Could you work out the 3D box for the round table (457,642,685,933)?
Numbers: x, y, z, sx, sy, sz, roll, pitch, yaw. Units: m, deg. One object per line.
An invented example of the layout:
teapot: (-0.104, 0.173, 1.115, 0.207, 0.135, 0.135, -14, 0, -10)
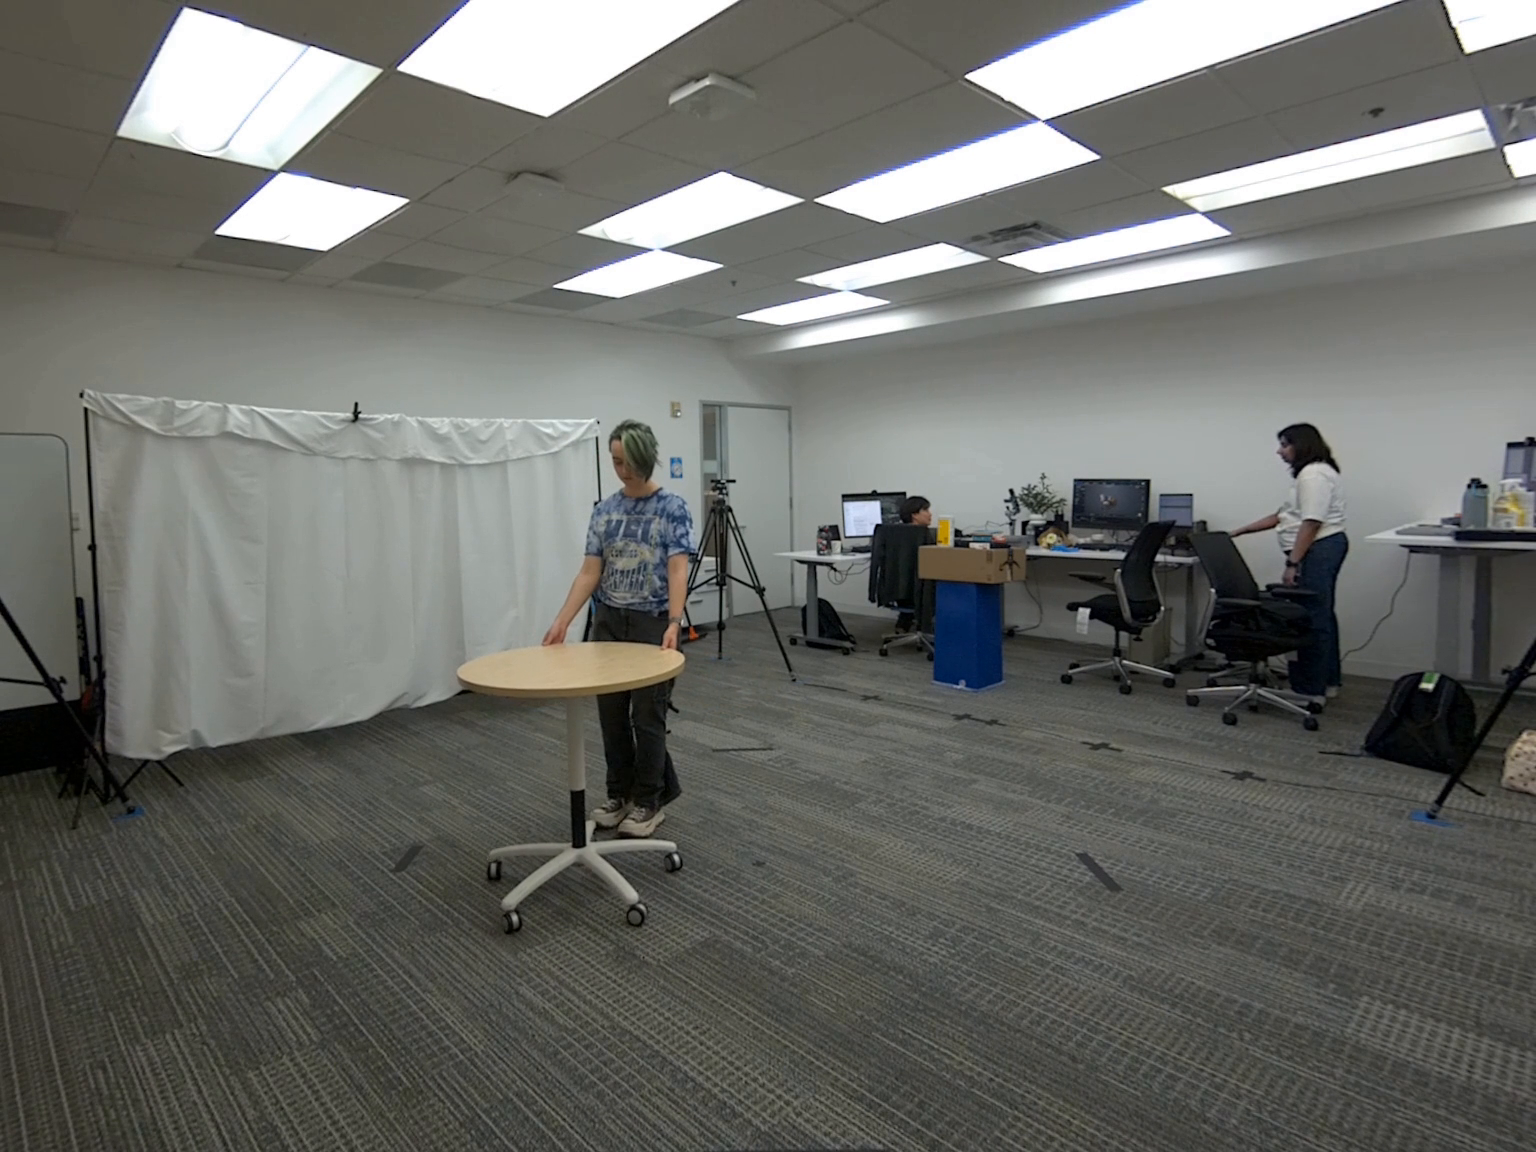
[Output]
round table: (-0.648, 0.691, 2.938, 0.763, 0.791, 0.767, -2, 4, -2)
